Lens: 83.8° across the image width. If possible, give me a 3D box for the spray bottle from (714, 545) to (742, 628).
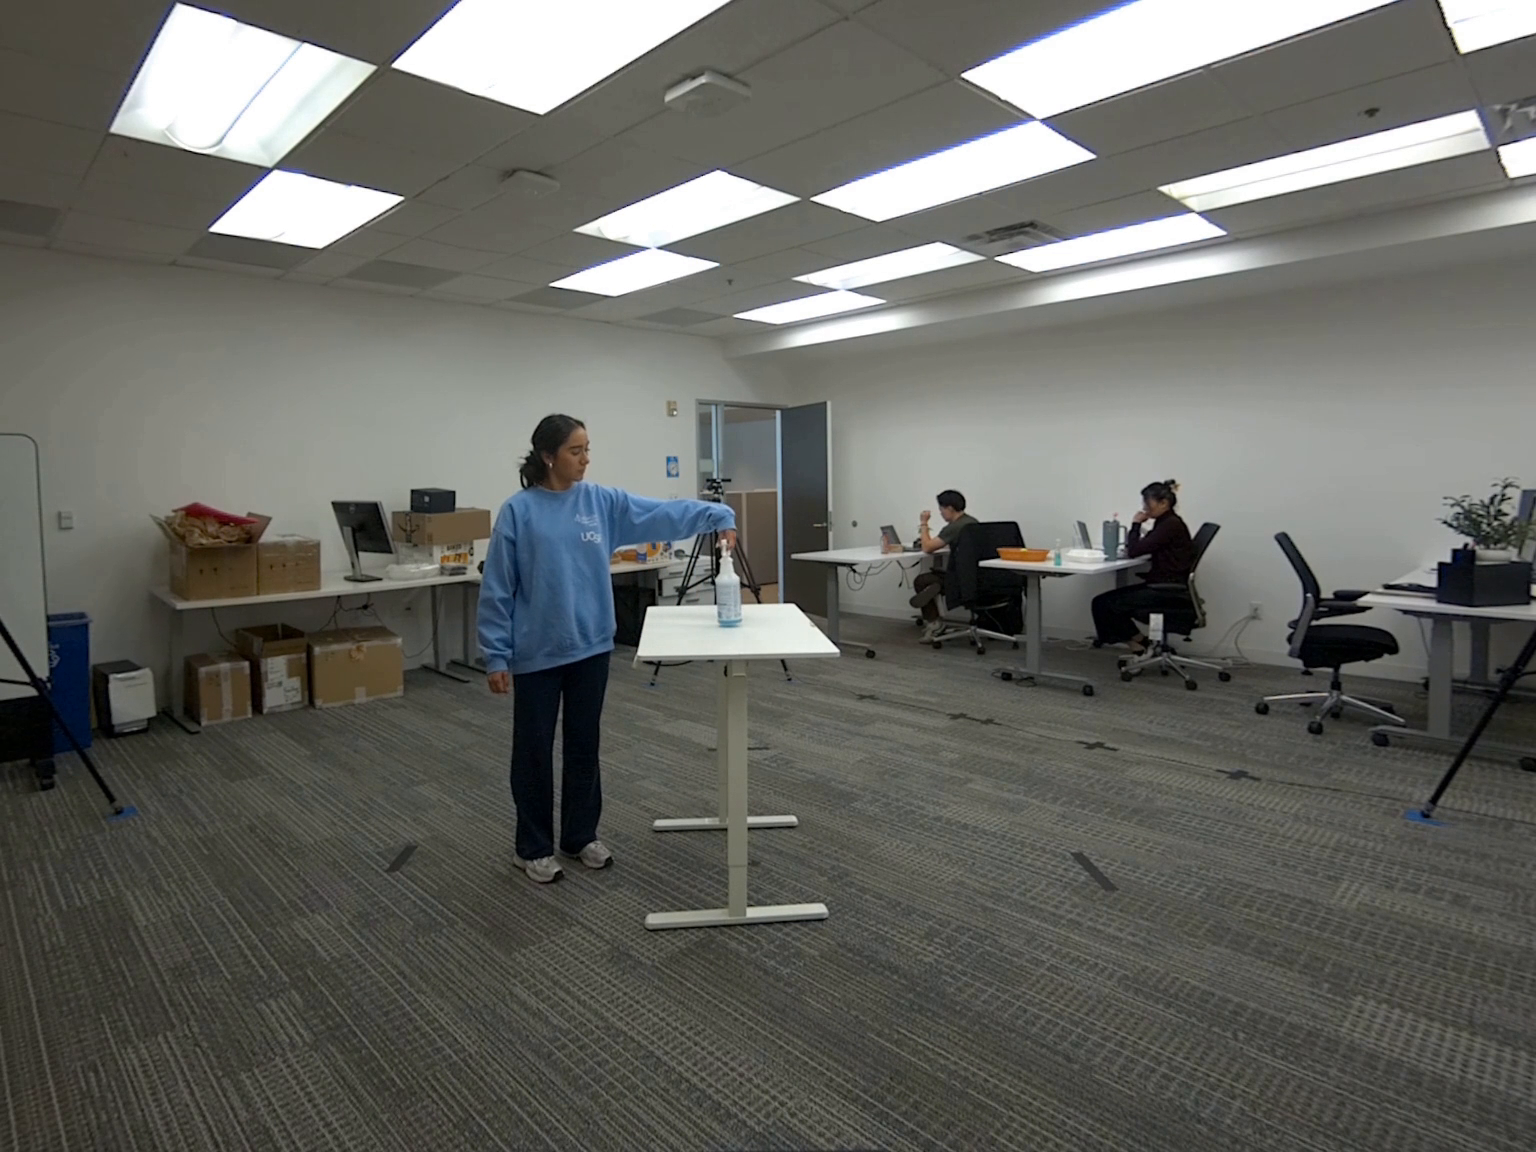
[{"bbox_3d":[-0.146,0.019,2.992,0.089,0.295,0.088,-1,7,28],"label":"spray bottle"}]
